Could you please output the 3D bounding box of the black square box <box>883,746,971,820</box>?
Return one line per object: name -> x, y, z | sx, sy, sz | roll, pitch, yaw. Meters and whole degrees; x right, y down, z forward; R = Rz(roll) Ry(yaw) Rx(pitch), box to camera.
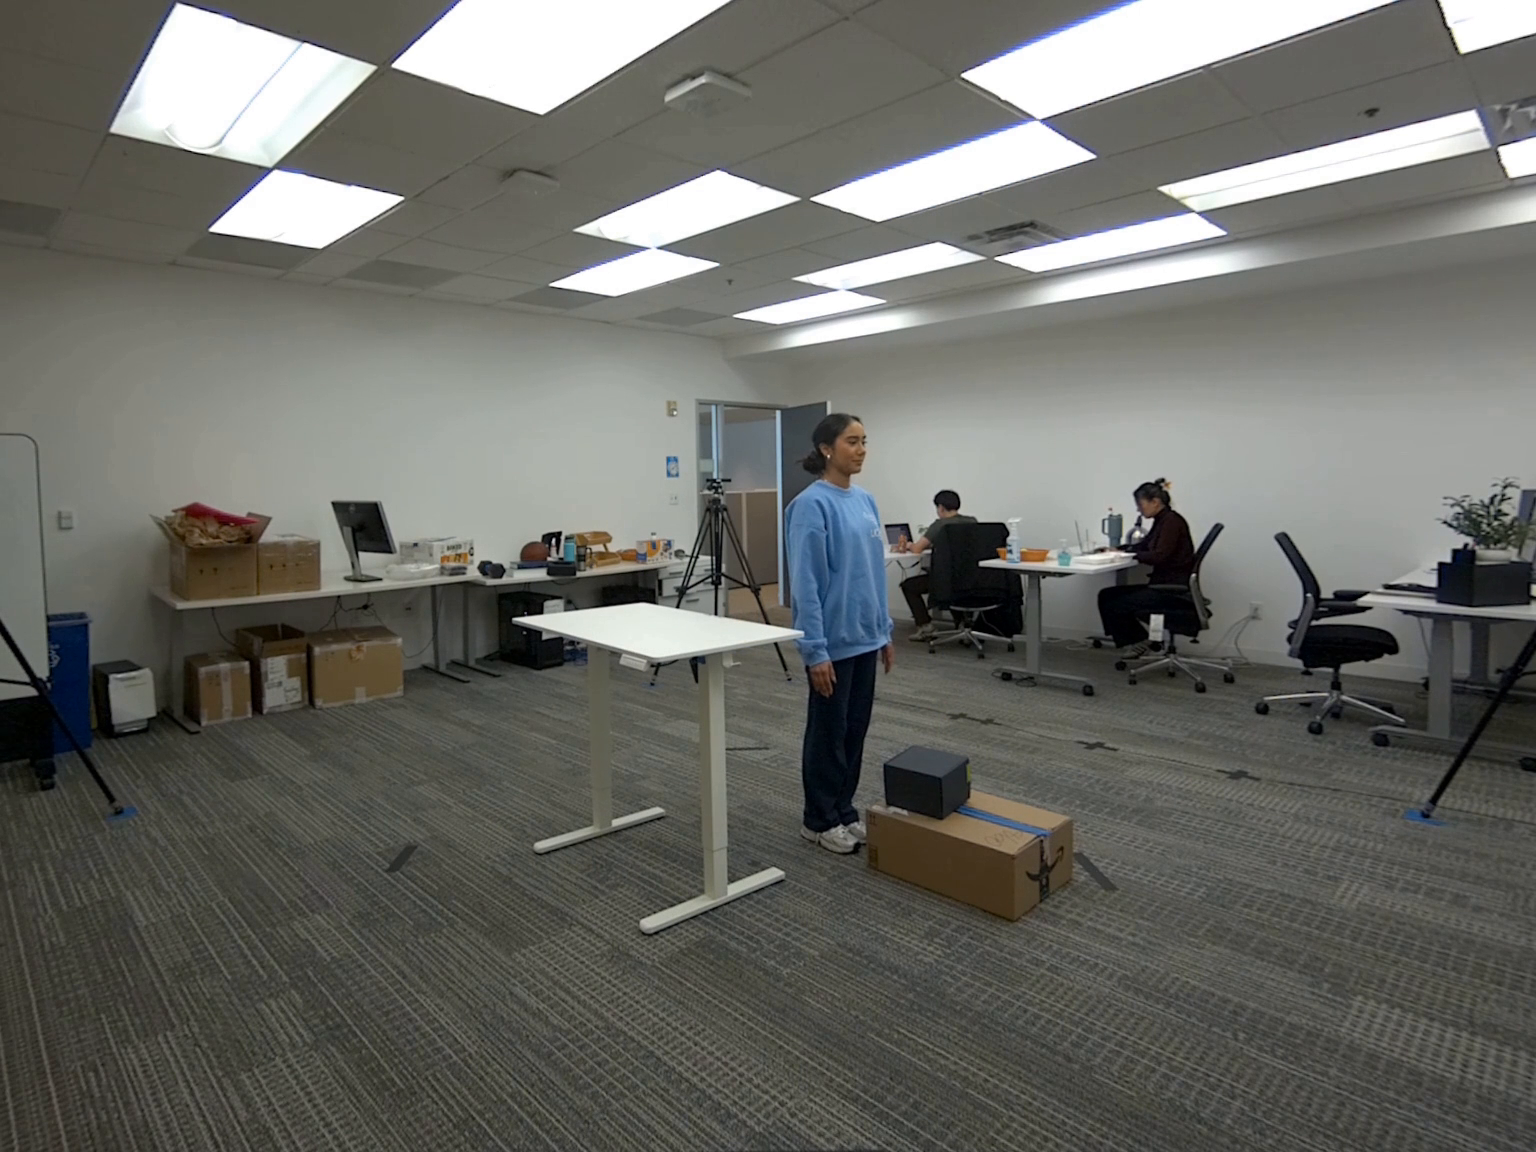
black square box -> 0.571, 0.730, 3.066 | 0.235, 0.155, 0.212 | 4, 11, 41
